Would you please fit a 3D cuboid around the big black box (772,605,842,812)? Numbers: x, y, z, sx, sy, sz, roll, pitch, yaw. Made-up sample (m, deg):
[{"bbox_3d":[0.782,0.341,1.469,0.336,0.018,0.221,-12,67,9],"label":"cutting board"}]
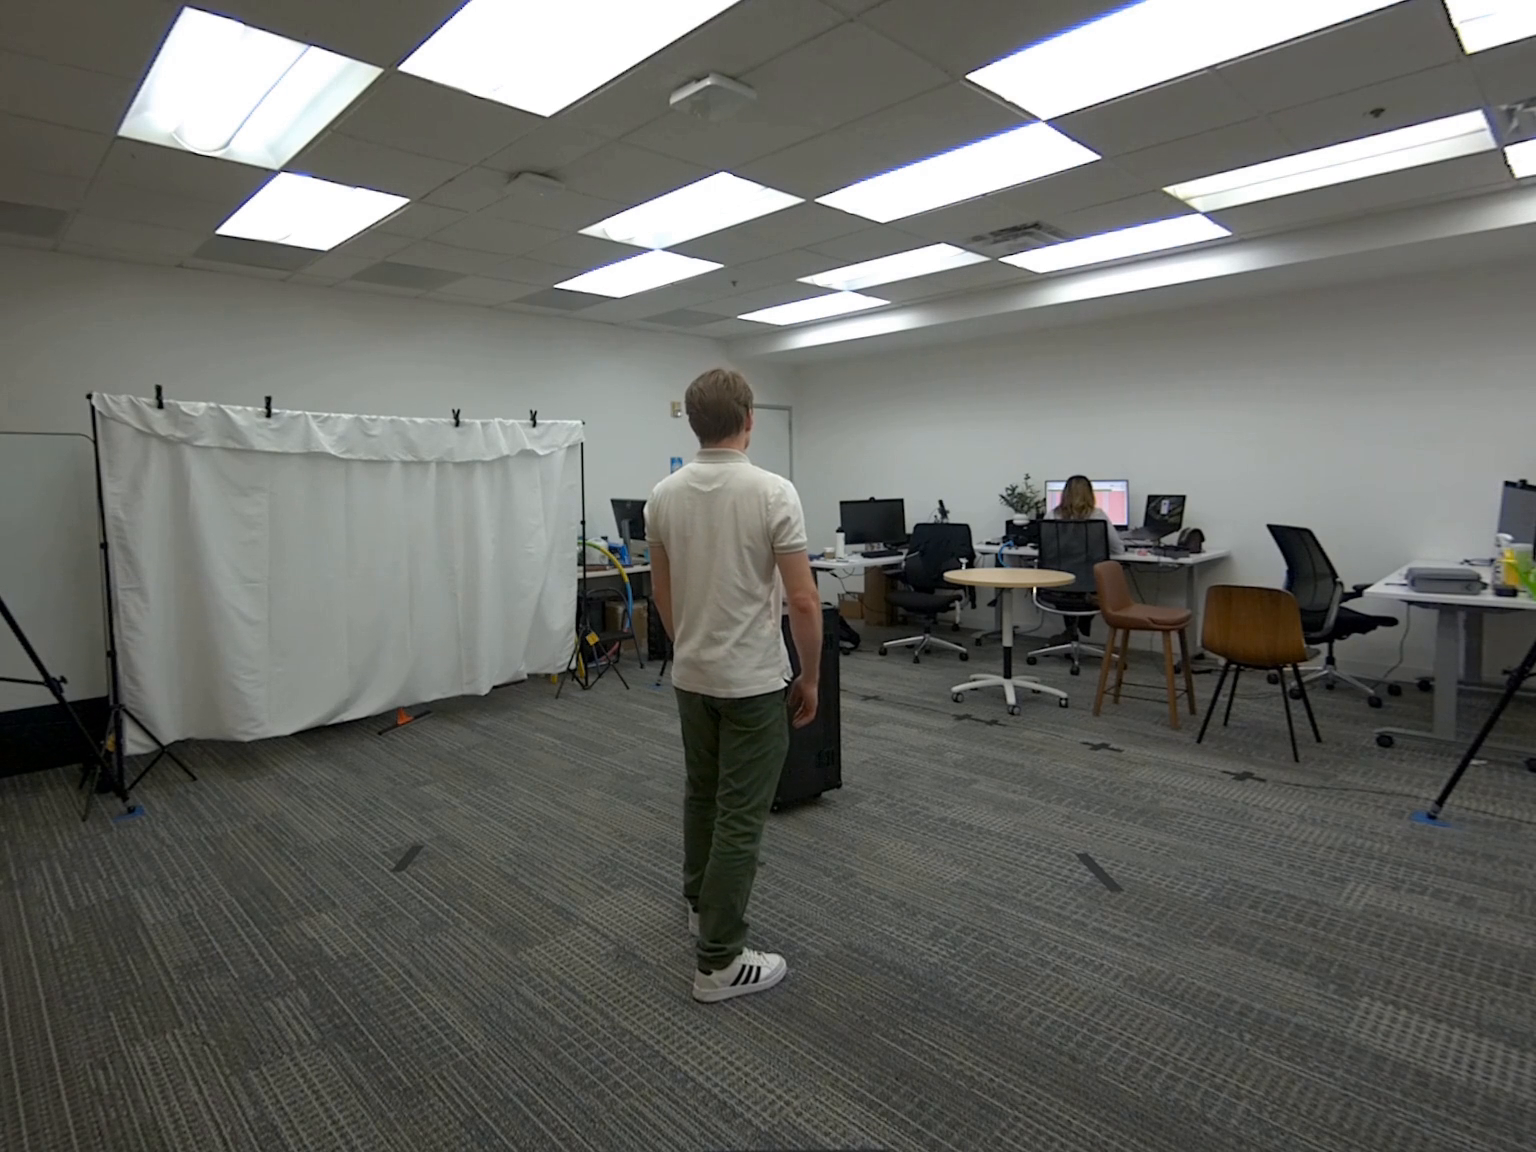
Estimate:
[{"bbox_3d":[0.032,0.552,3.750,0.376,0.865,0.539,-5,6,-34],"label":"big black box"}]
